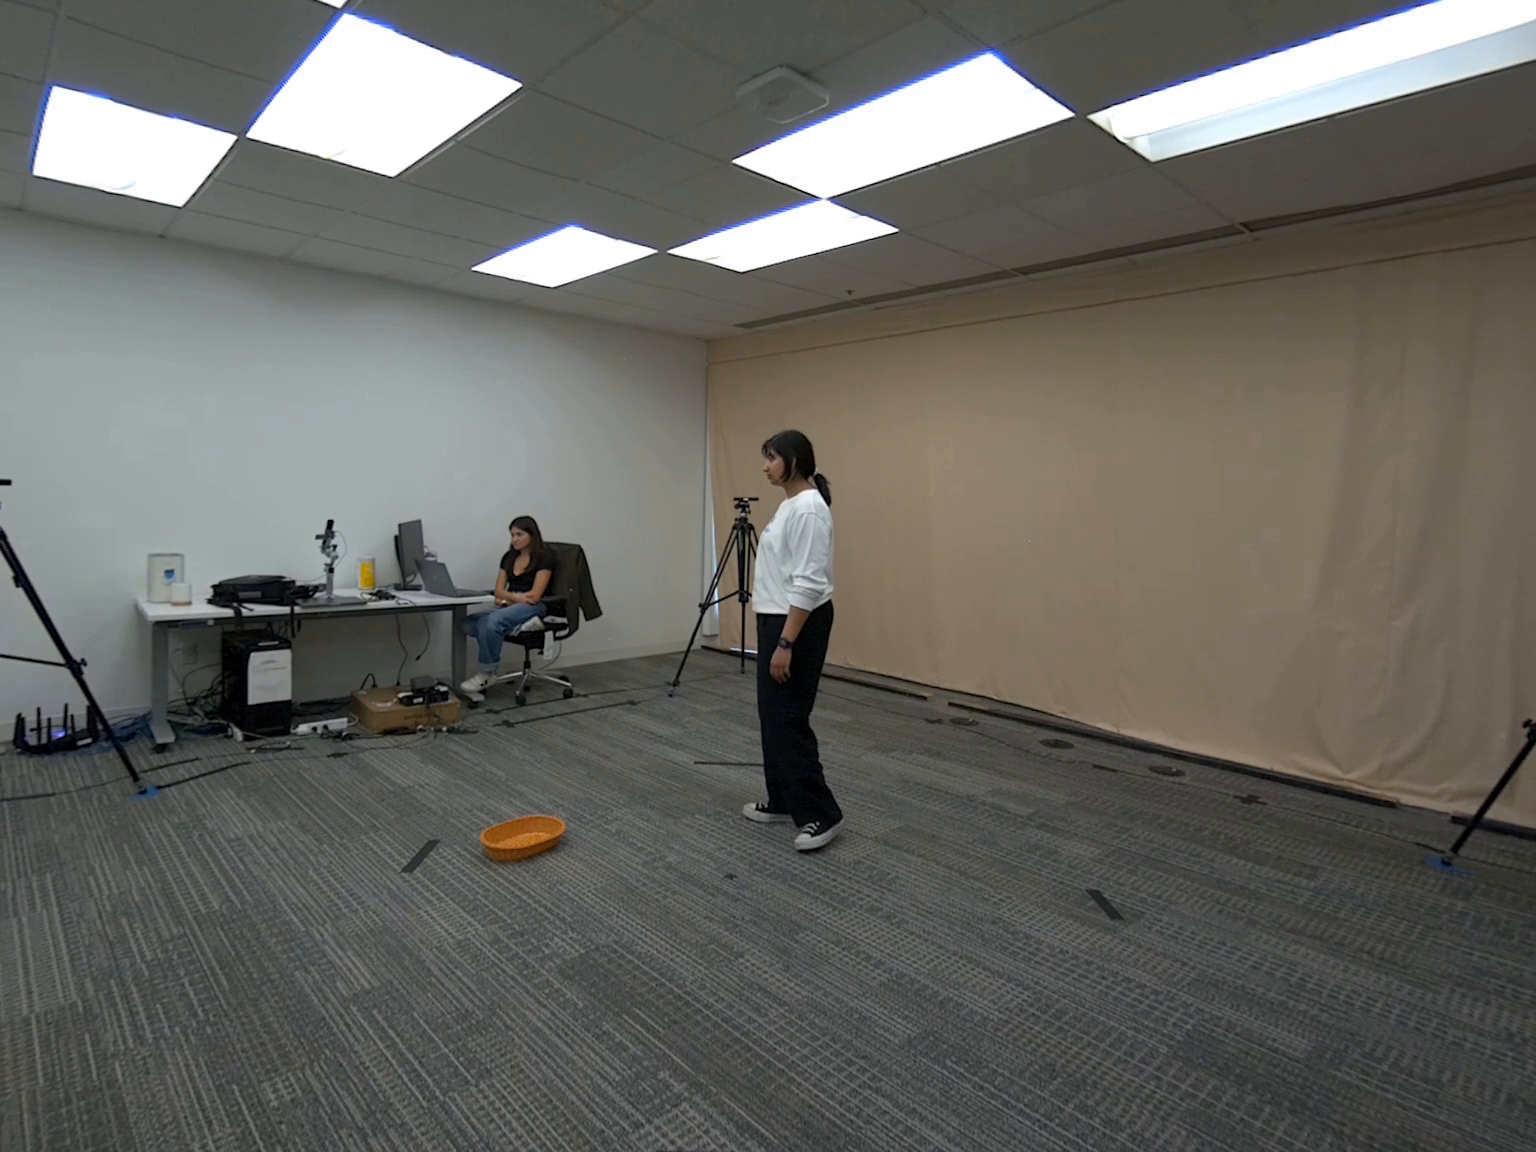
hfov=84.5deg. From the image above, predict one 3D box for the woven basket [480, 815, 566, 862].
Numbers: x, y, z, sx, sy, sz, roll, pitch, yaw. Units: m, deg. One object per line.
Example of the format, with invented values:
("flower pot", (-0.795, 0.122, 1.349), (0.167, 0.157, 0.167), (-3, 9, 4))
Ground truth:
("woven basket", (-0.967, 1.032, 3.306), (0.259, 0.073, 0.342), (6, 7, 39))
